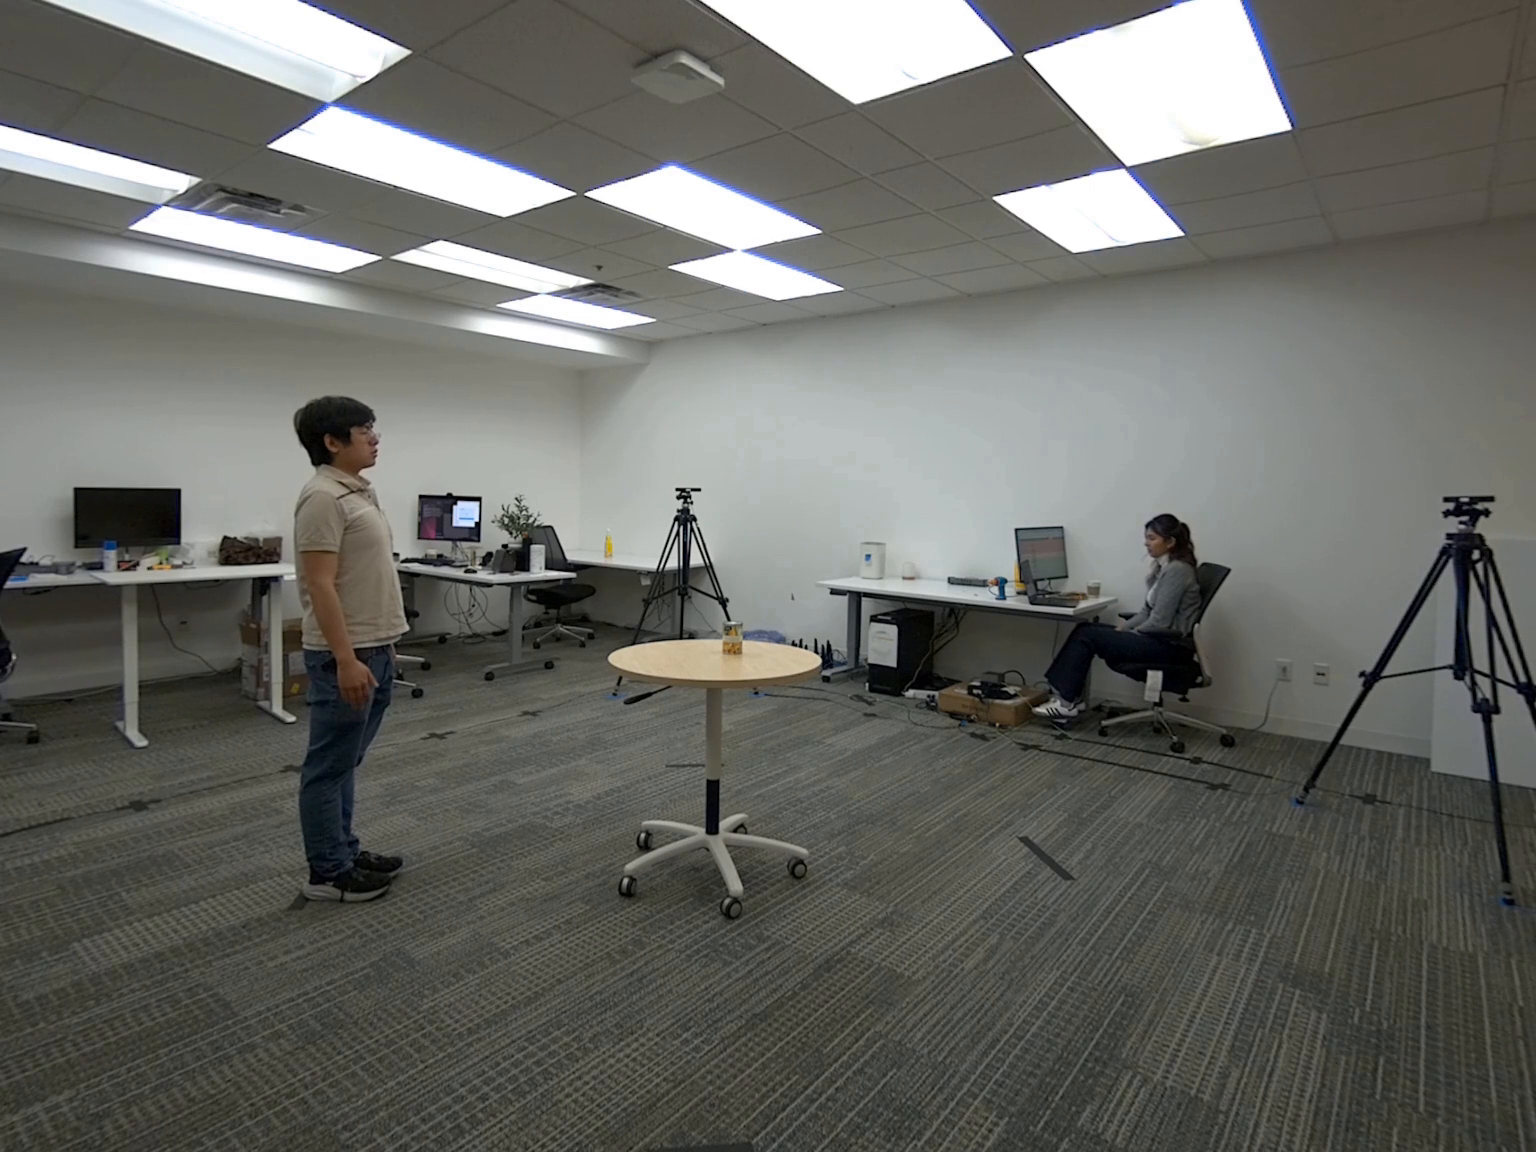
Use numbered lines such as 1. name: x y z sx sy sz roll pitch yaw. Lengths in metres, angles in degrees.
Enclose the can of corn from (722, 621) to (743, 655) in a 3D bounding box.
1. can of corn: -0.145 0.231 3.146 0.074 0.110 0.074 1 5 -2
